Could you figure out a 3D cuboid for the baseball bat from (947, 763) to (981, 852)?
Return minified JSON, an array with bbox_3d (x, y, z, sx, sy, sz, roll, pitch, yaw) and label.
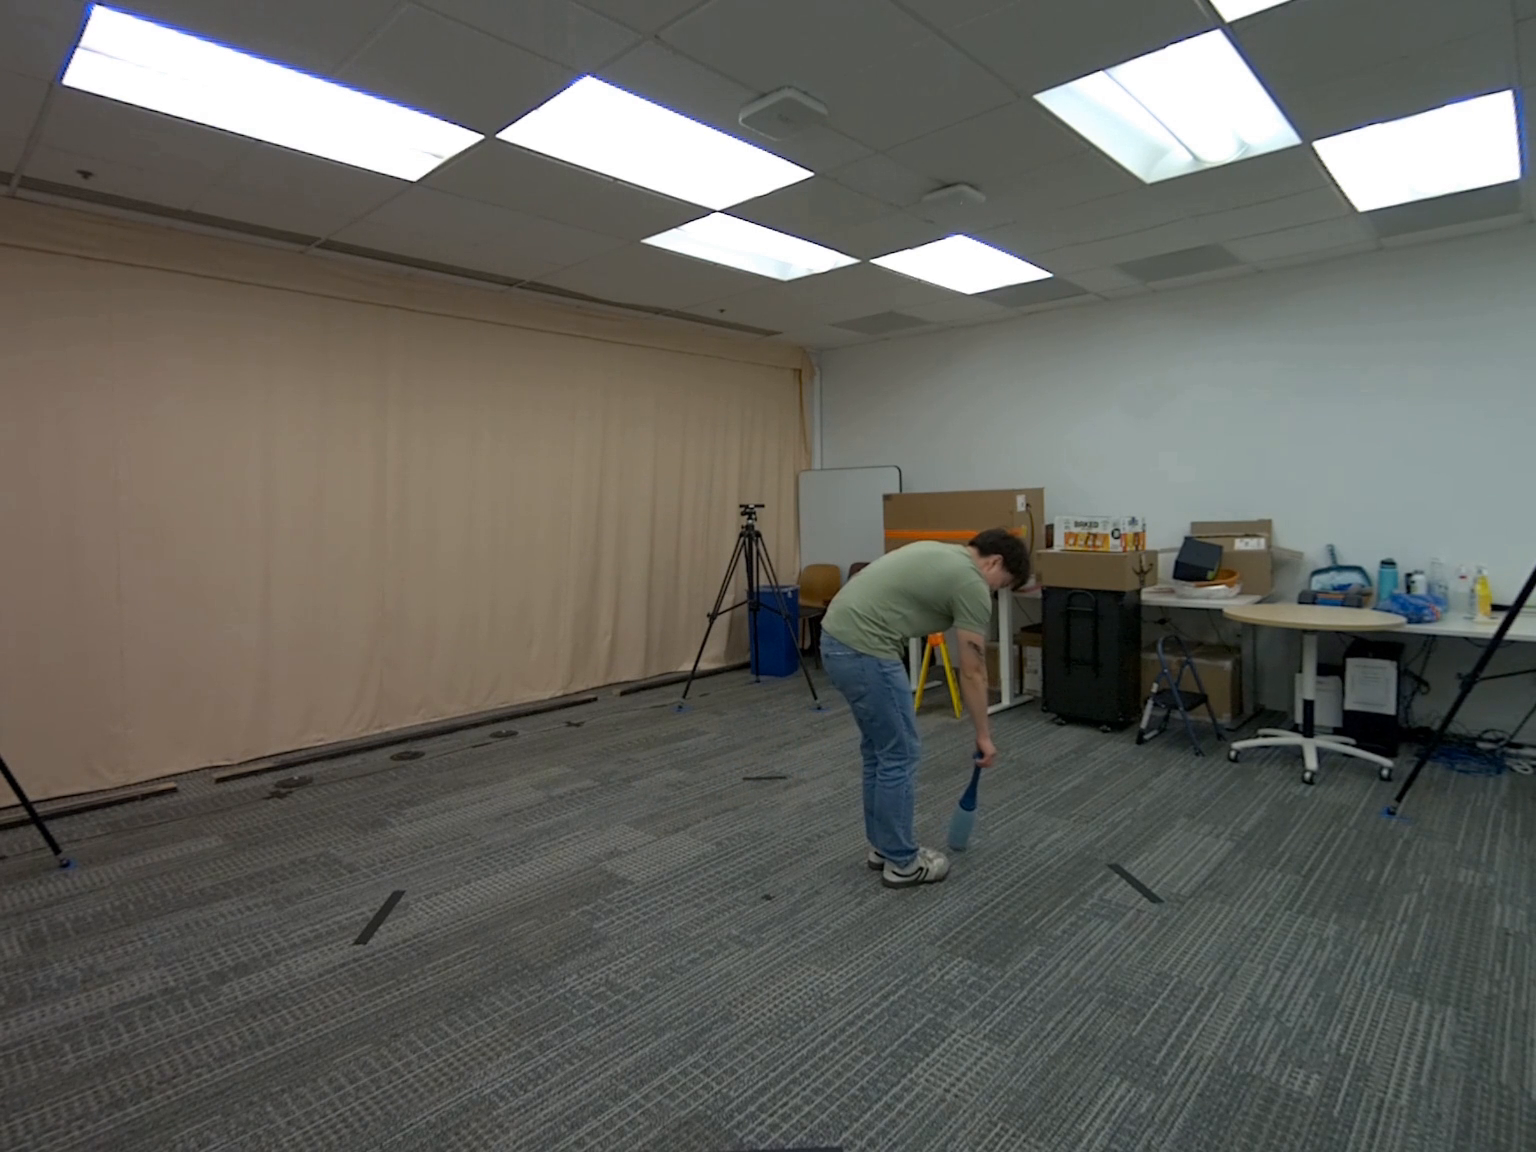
[{"bbox_3d":[0.777,0.870,3.227,0.089,0.533,0.091,0,38,-2],"label":"baseball bat"}]
